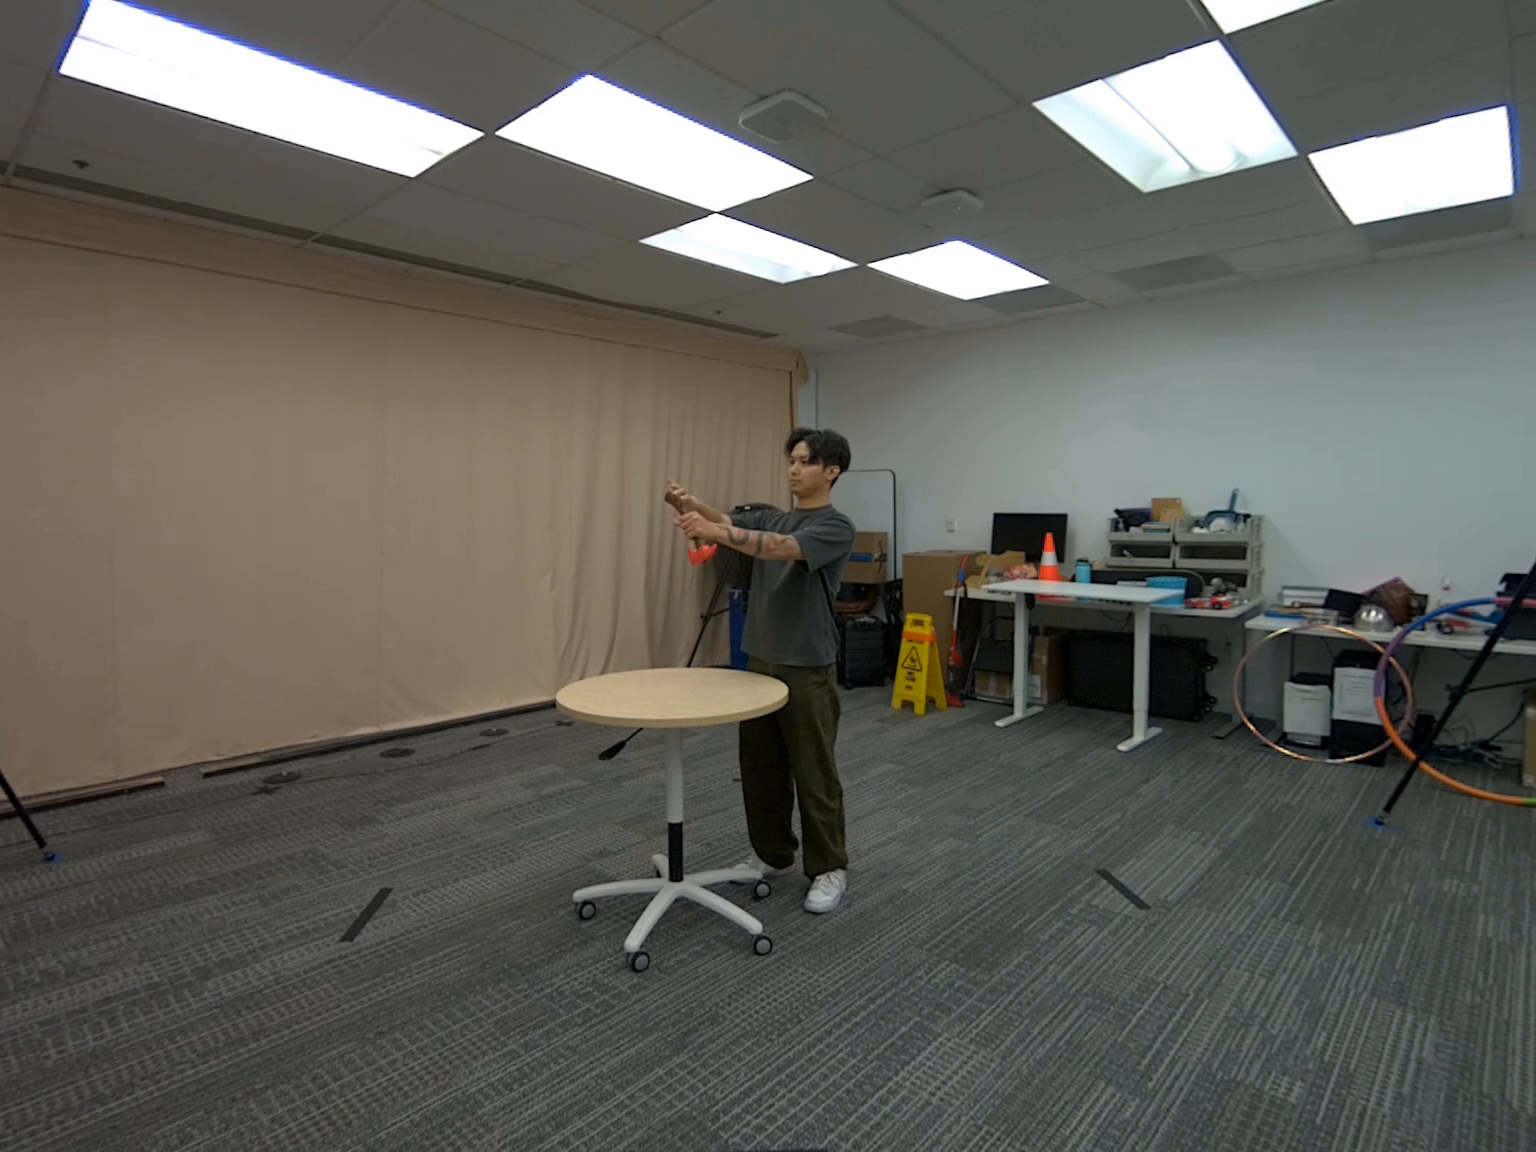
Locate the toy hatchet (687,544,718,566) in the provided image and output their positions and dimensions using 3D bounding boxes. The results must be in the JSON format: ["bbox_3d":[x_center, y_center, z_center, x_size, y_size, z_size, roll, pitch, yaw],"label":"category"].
[{"bbox_3d":[-0.260,-0.142,2.716,0.029,0.131,0.278,-12,51,-43],"label":"toy hatchet"}]
